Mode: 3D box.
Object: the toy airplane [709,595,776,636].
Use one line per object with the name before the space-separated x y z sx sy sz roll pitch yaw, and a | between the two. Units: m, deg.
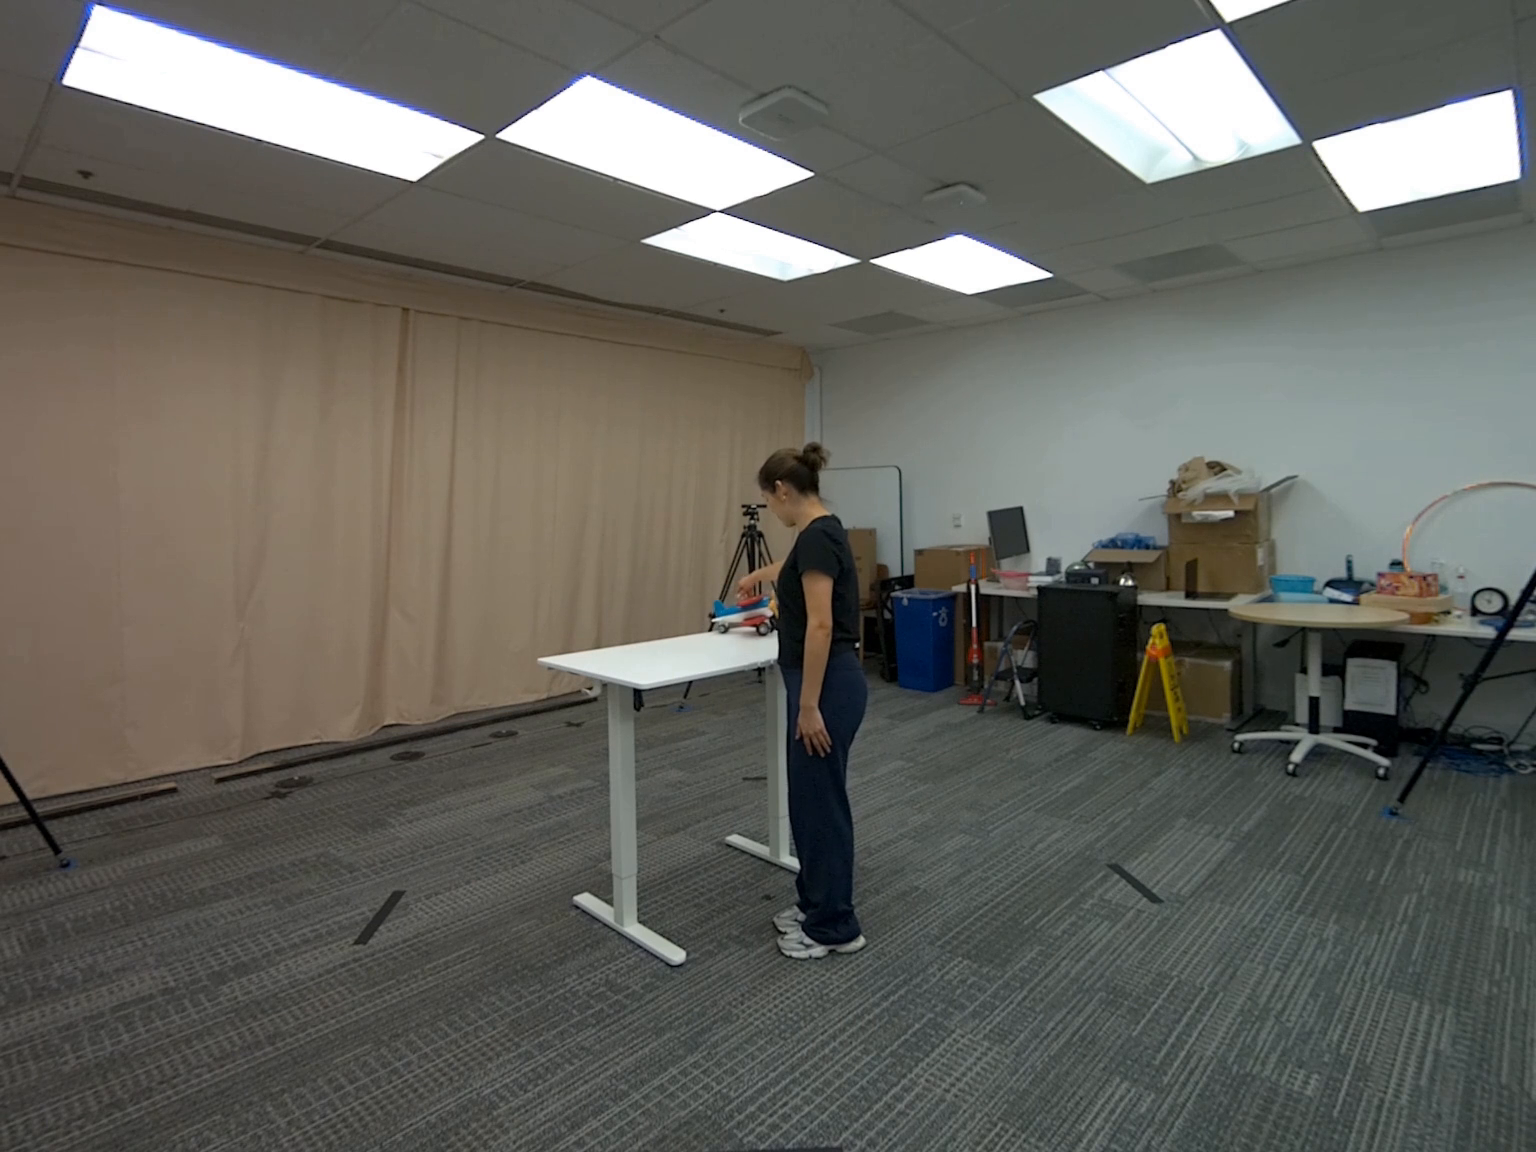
toy airplane | -0.080 0.154 3.323 0.256 0.156 0.255 -1 5 -12
